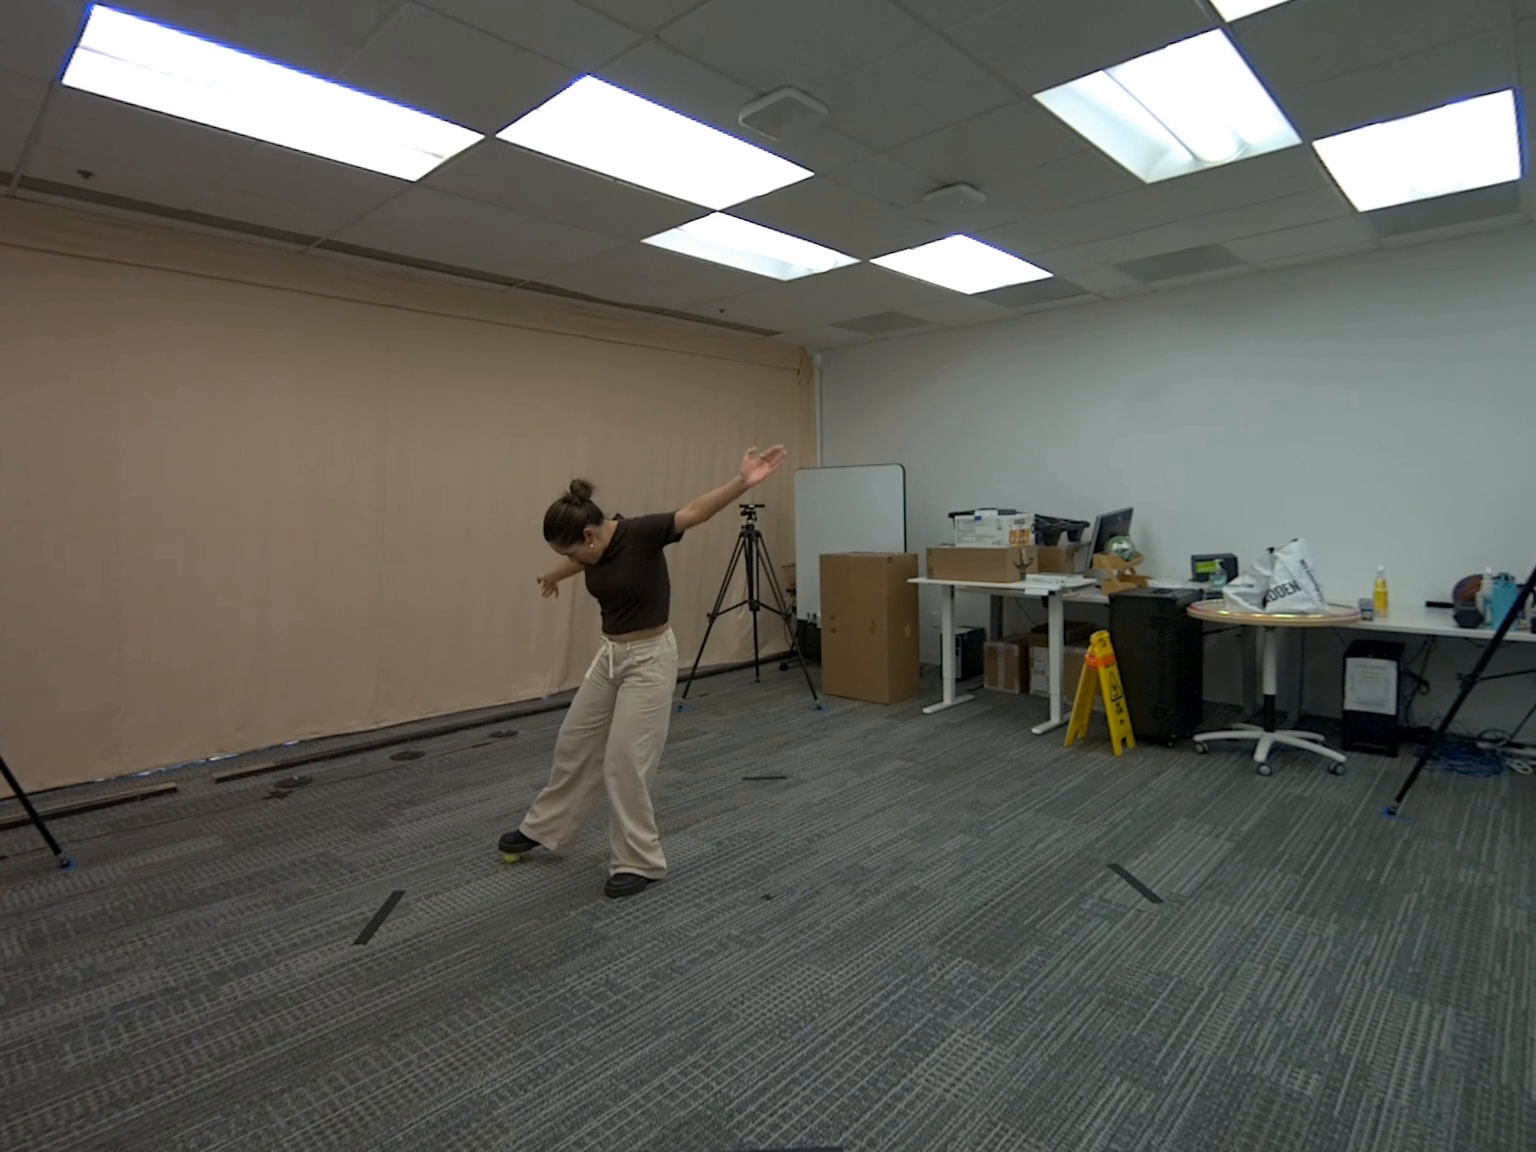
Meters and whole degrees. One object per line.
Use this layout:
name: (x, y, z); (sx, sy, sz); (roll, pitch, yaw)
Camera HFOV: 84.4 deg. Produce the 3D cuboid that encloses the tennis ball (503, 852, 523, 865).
tennis ball: (-1.016, 1.111, 3.341); (0.066, 0.066, 0.067); (-1, 4, -2)
